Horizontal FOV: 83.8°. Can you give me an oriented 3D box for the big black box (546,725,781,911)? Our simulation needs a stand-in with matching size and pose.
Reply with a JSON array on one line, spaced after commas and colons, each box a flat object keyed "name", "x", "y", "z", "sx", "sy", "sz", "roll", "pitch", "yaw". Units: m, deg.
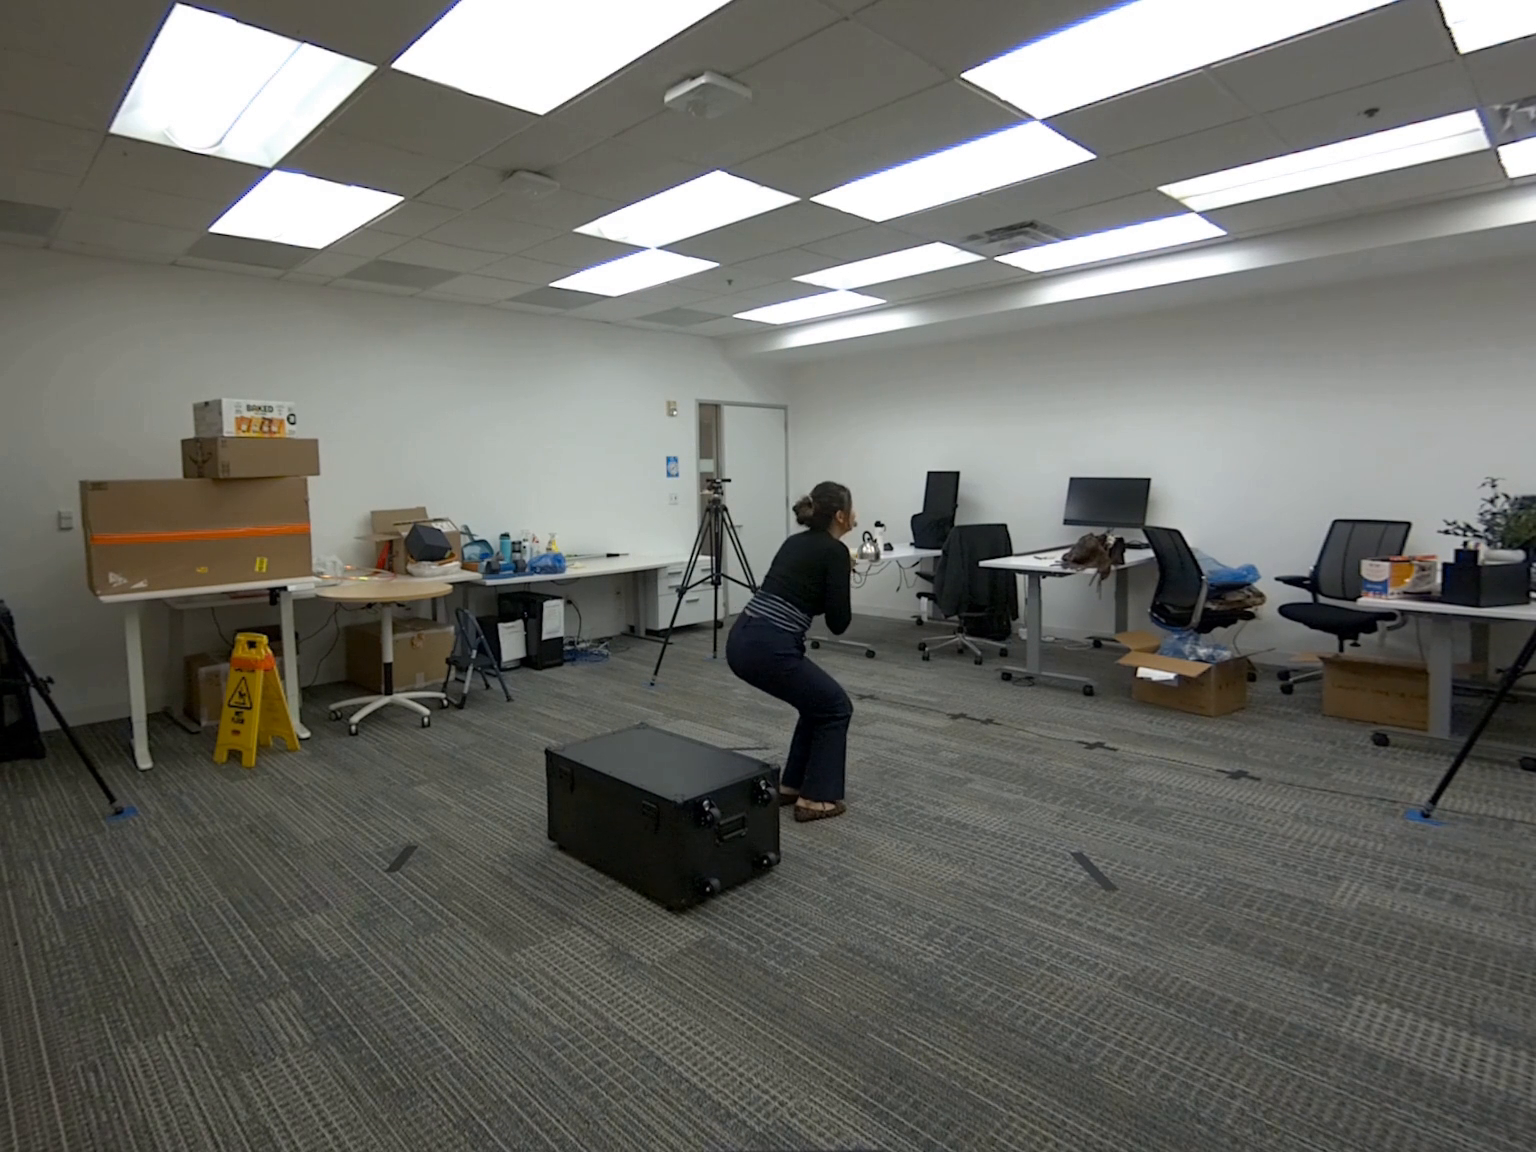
[{"name": "big black box", "x": -0.418, "y": 0.849, "z": 3.185, "sx": 0.507, "sy": 0.394, "sz": 0.888, "roll": -5, "pitch": 8, "yaw": -44}]
